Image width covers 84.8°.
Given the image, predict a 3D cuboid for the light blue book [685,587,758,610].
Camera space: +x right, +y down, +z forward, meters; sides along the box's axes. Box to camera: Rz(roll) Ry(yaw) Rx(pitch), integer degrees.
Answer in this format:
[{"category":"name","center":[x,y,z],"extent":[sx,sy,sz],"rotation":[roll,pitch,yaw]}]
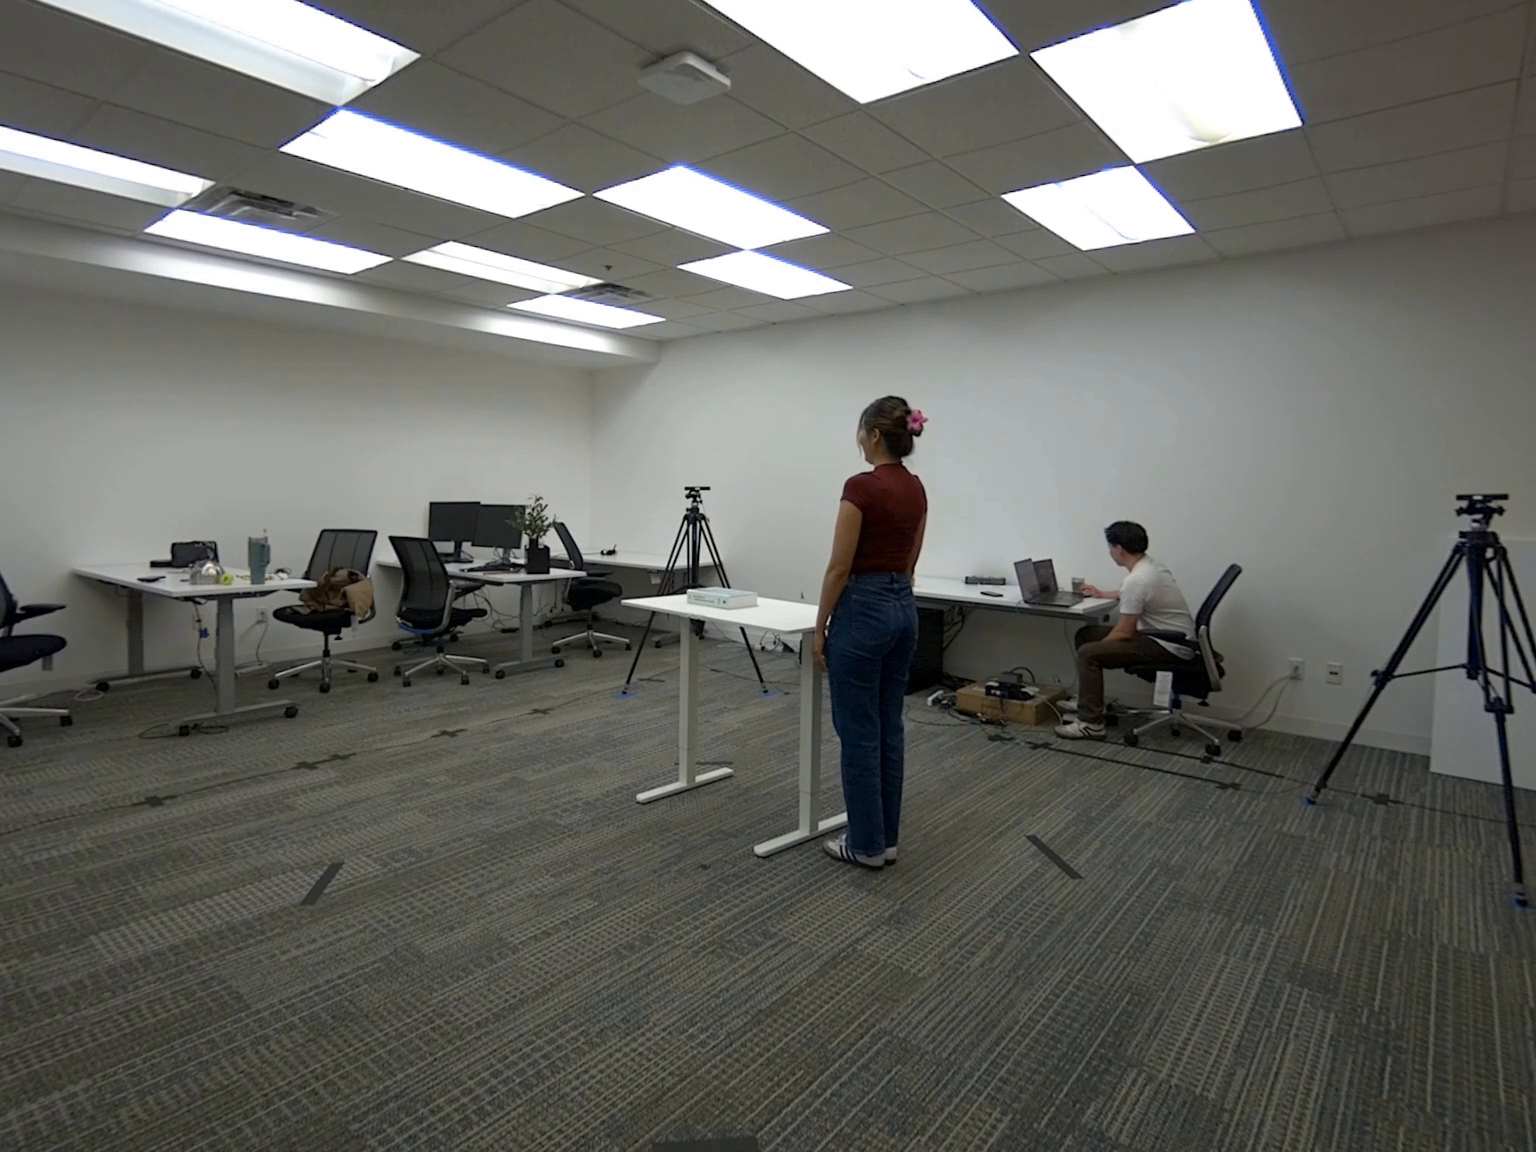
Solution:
[{"category":"light blue book","center":[-0.210,0.094,3.742],"extent":[0.270,0.059,0.186],"rotation":[6,8,43]}]
